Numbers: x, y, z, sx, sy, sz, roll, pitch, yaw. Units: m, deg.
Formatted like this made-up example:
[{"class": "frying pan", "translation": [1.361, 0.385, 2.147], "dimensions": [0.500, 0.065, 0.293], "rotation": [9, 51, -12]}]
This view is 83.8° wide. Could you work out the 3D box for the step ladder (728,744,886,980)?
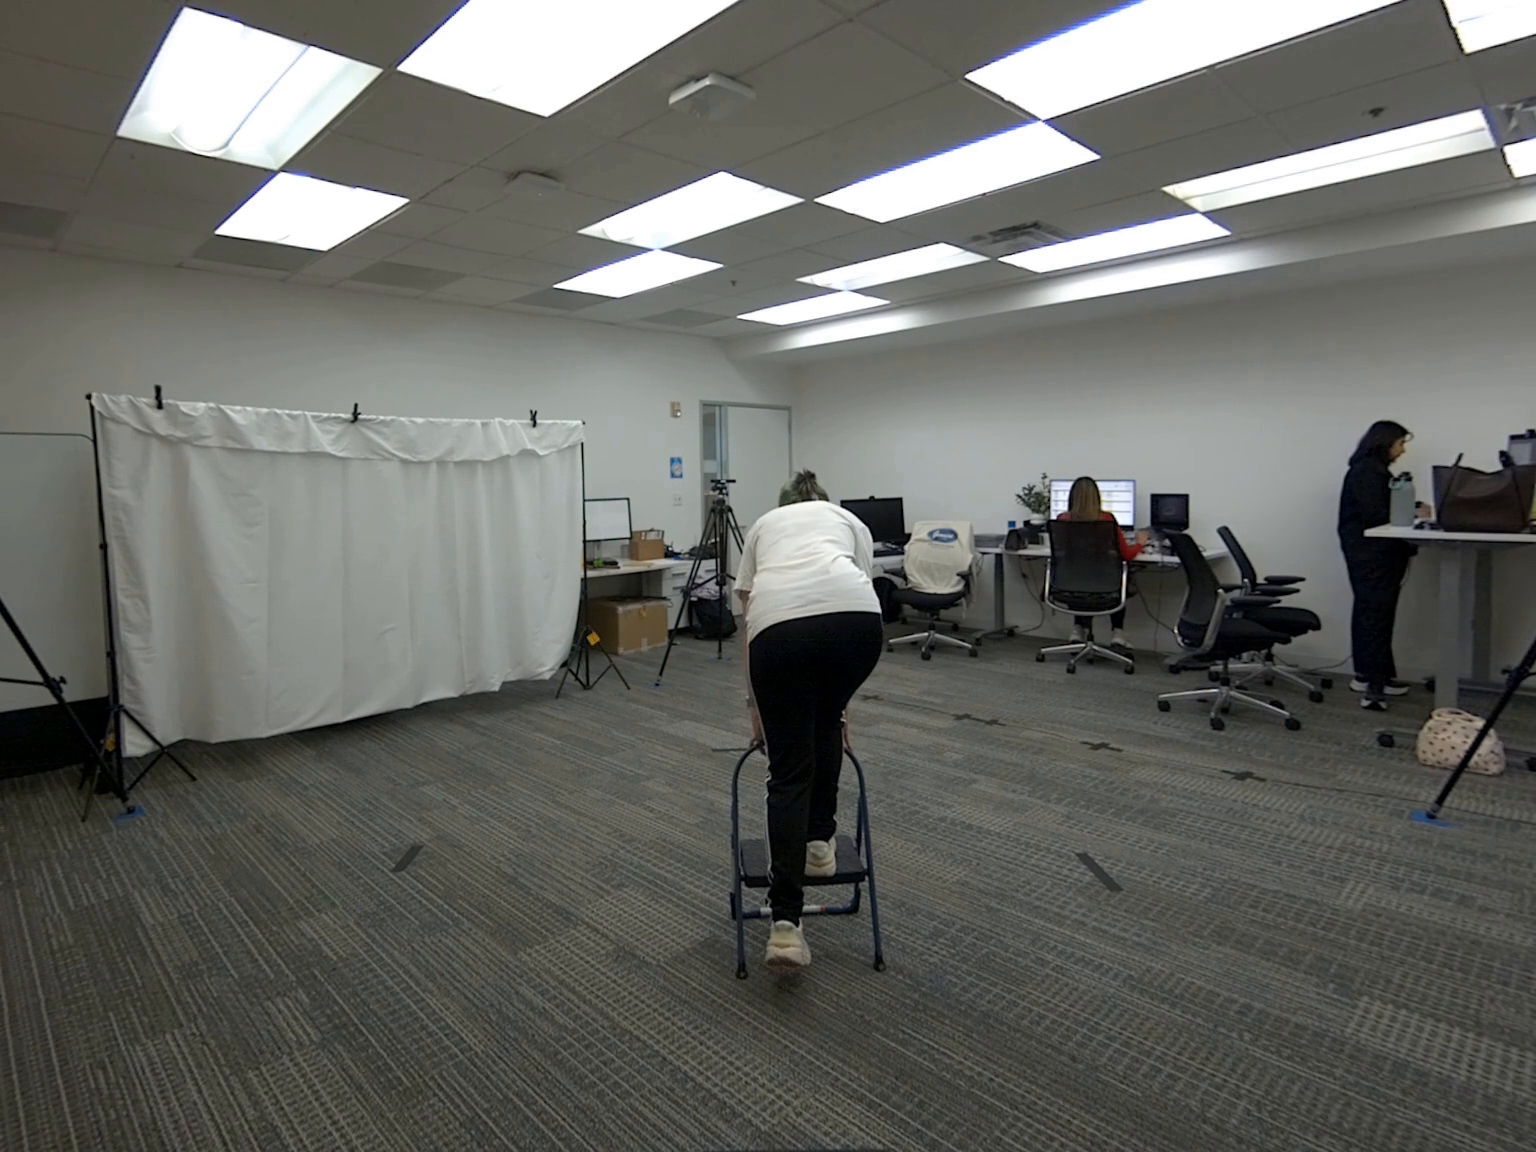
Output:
[{"class": "step ladder", "translation": [0.102, 0.810, 2.567], "dimensions": [0.429, 0.604, 0.352], "rotation": [-2, 4, -4]}]
